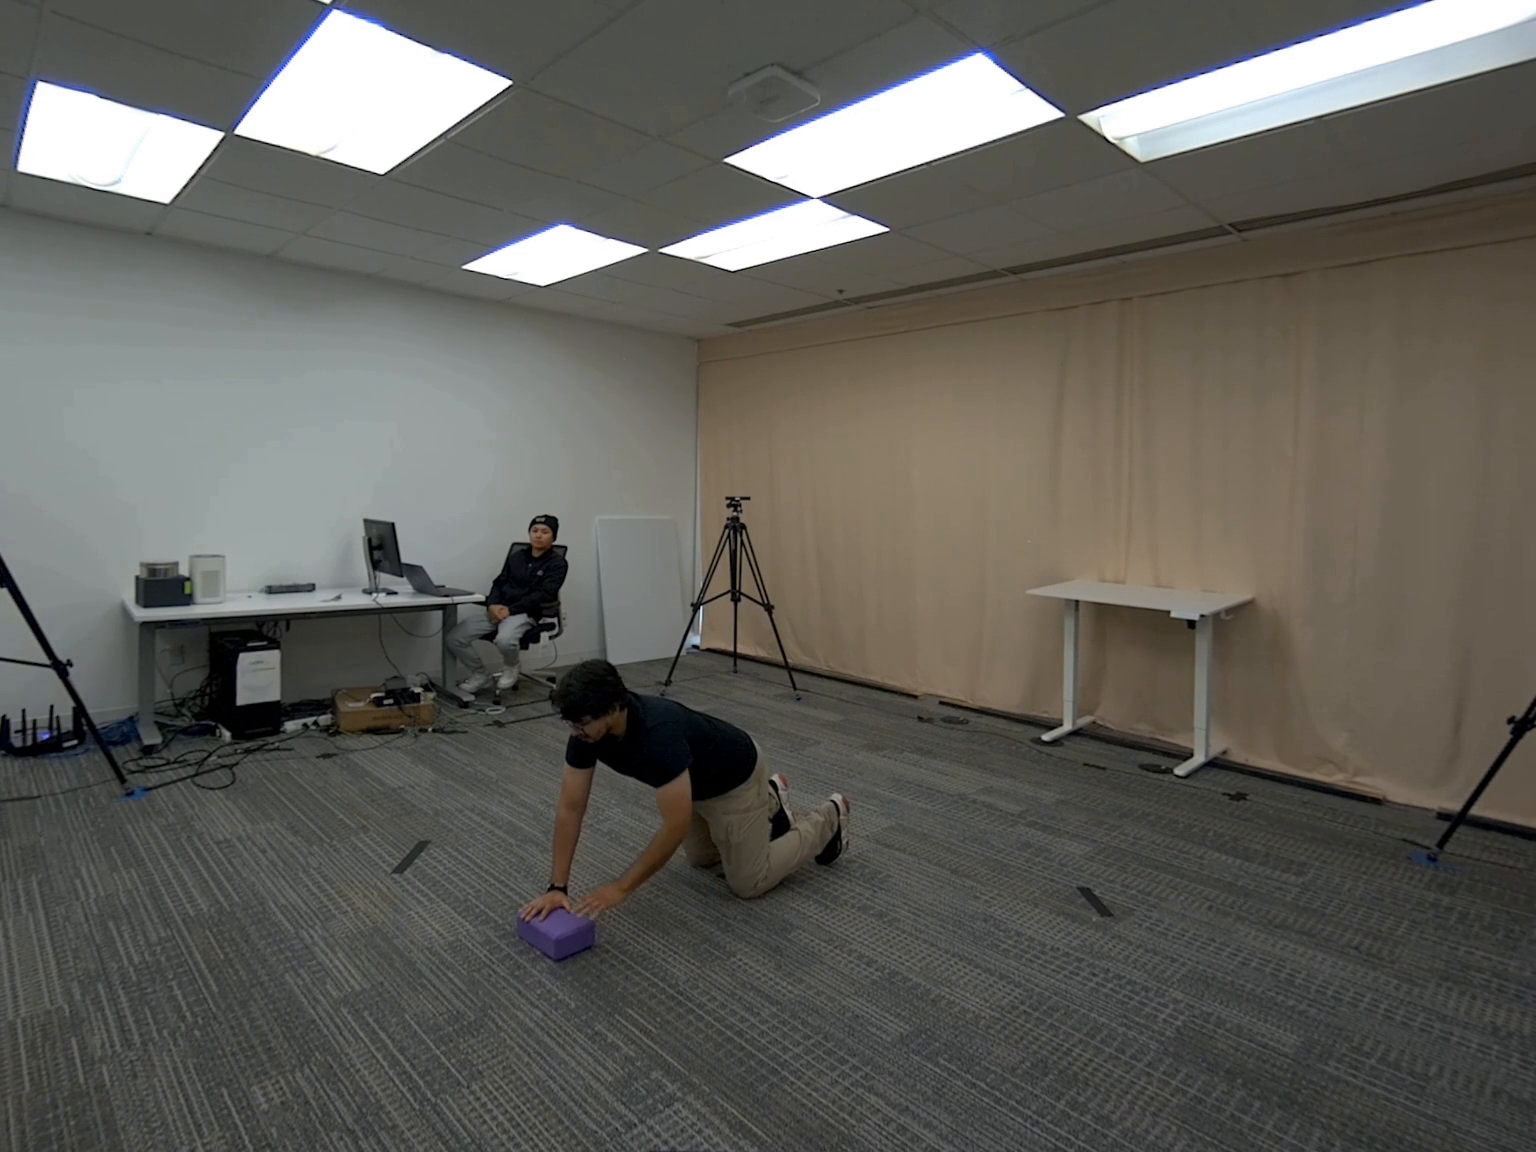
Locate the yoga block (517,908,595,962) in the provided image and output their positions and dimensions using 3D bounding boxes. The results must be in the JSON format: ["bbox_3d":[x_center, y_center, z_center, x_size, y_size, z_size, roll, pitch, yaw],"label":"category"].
[{"bbox_3d":[-0.664,1.095,2.622,0.235,0.076,0.146,3,7,44],"label":"yoga block"}]
